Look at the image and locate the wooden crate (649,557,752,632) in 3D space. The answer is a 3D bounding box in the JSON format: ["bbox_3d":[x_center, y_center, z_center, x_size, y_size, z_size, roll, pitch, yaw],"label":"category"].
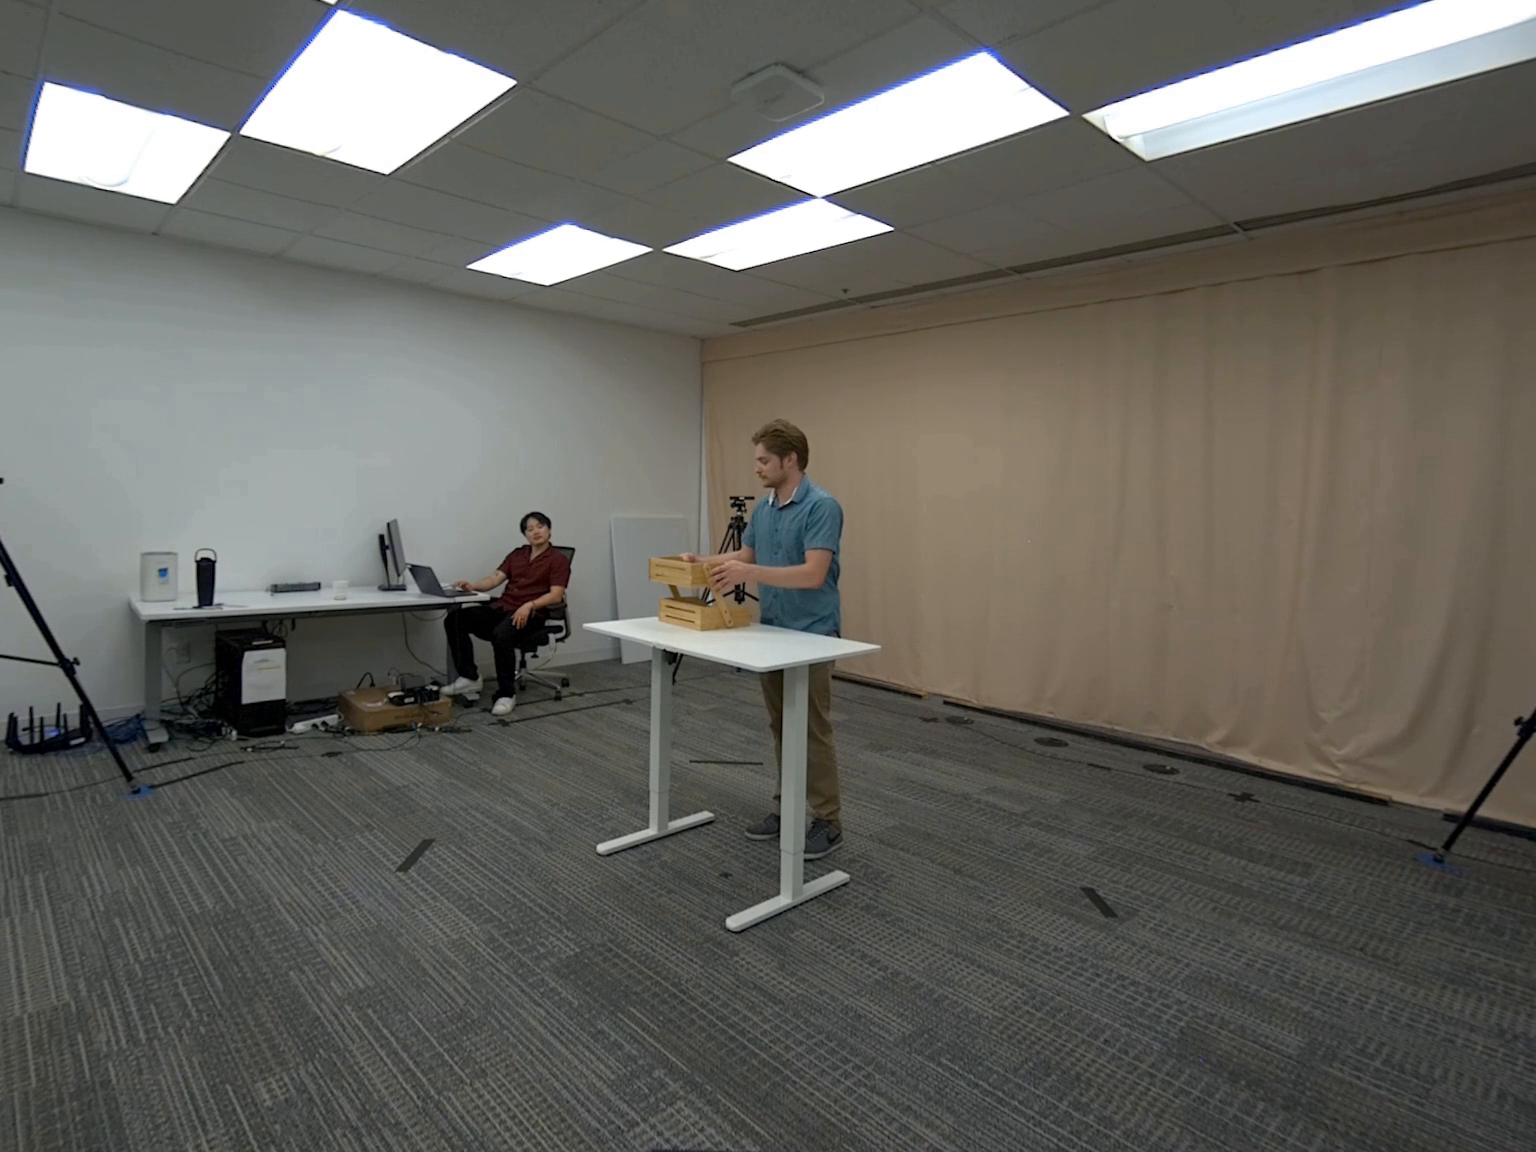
[{"bbox_3d":[-0.276,0.062,3.357,0.295,0.272,0.333,-3,6,-39],"label":"wooden crate"}]
